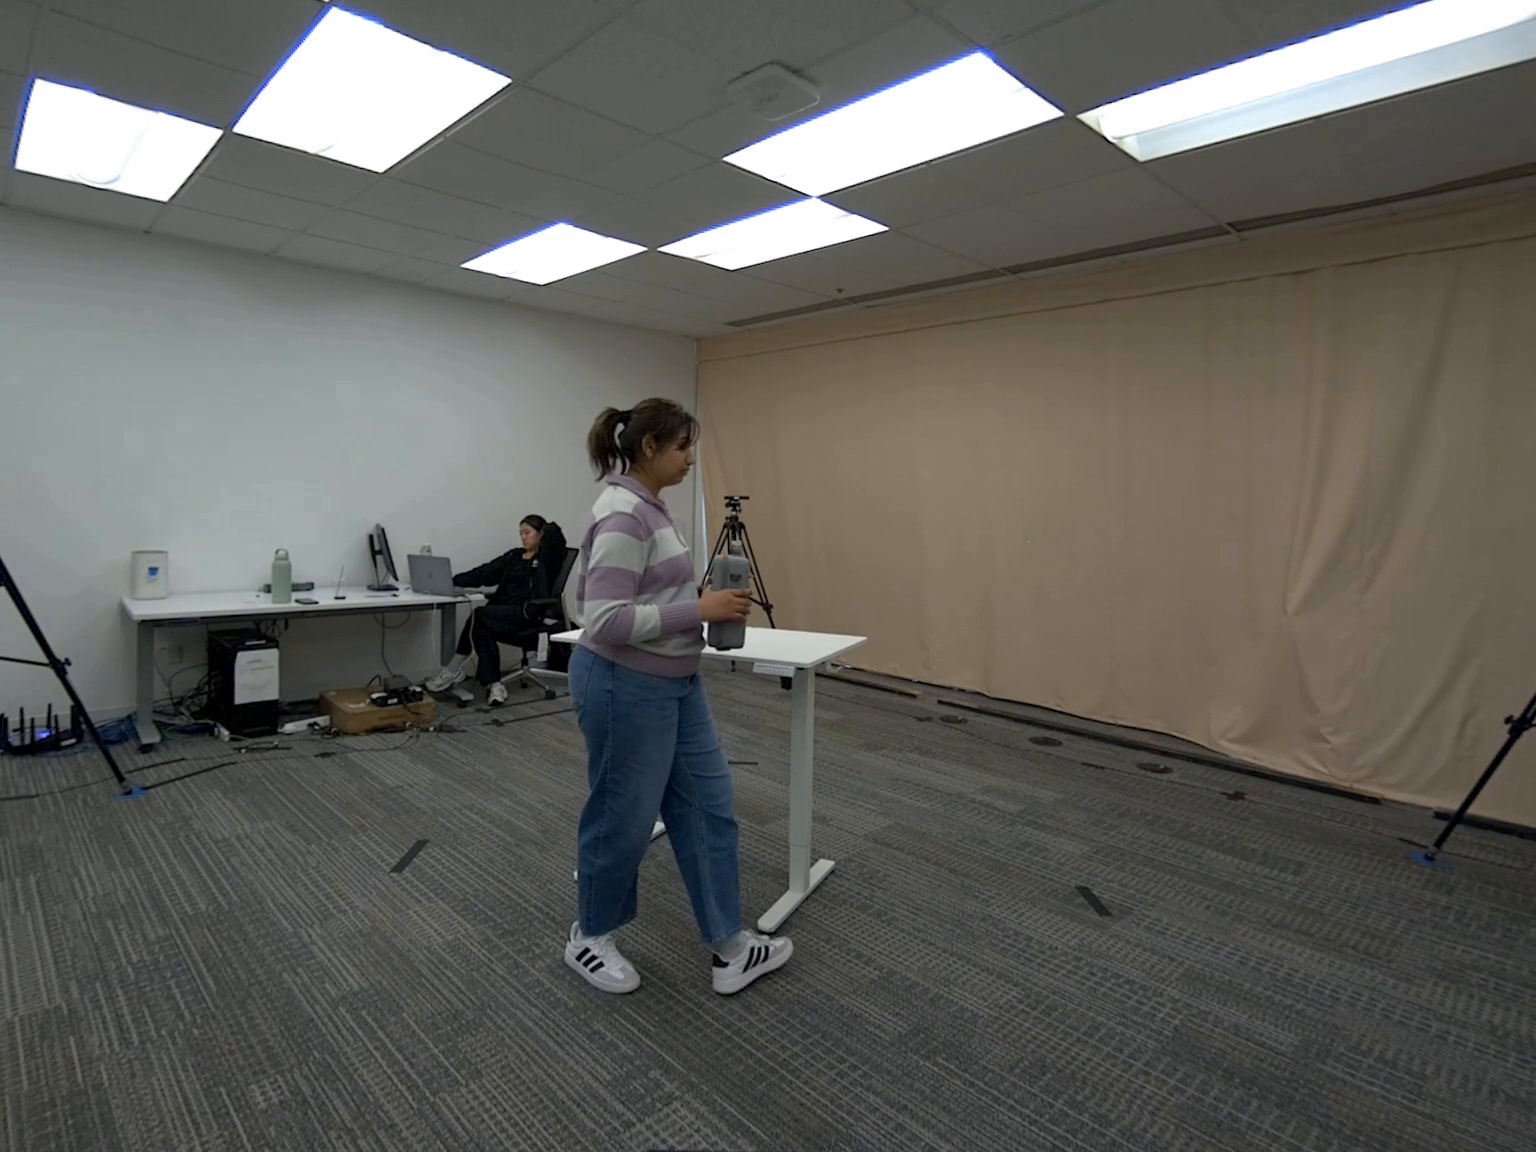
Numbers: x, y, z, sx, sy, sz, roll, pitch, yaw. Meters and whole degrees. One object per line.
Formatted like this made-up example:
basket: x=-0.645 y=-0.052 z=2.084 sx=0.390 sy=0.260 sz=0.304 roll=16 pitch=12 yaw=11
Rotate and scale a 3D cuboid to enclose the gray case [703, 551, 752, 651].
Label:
gray case: x=-0.111 y=0.068 z=2.340 sx=0.104 sy=0.260 sz=0.257 roll=8 pitch=5 yaw=0
